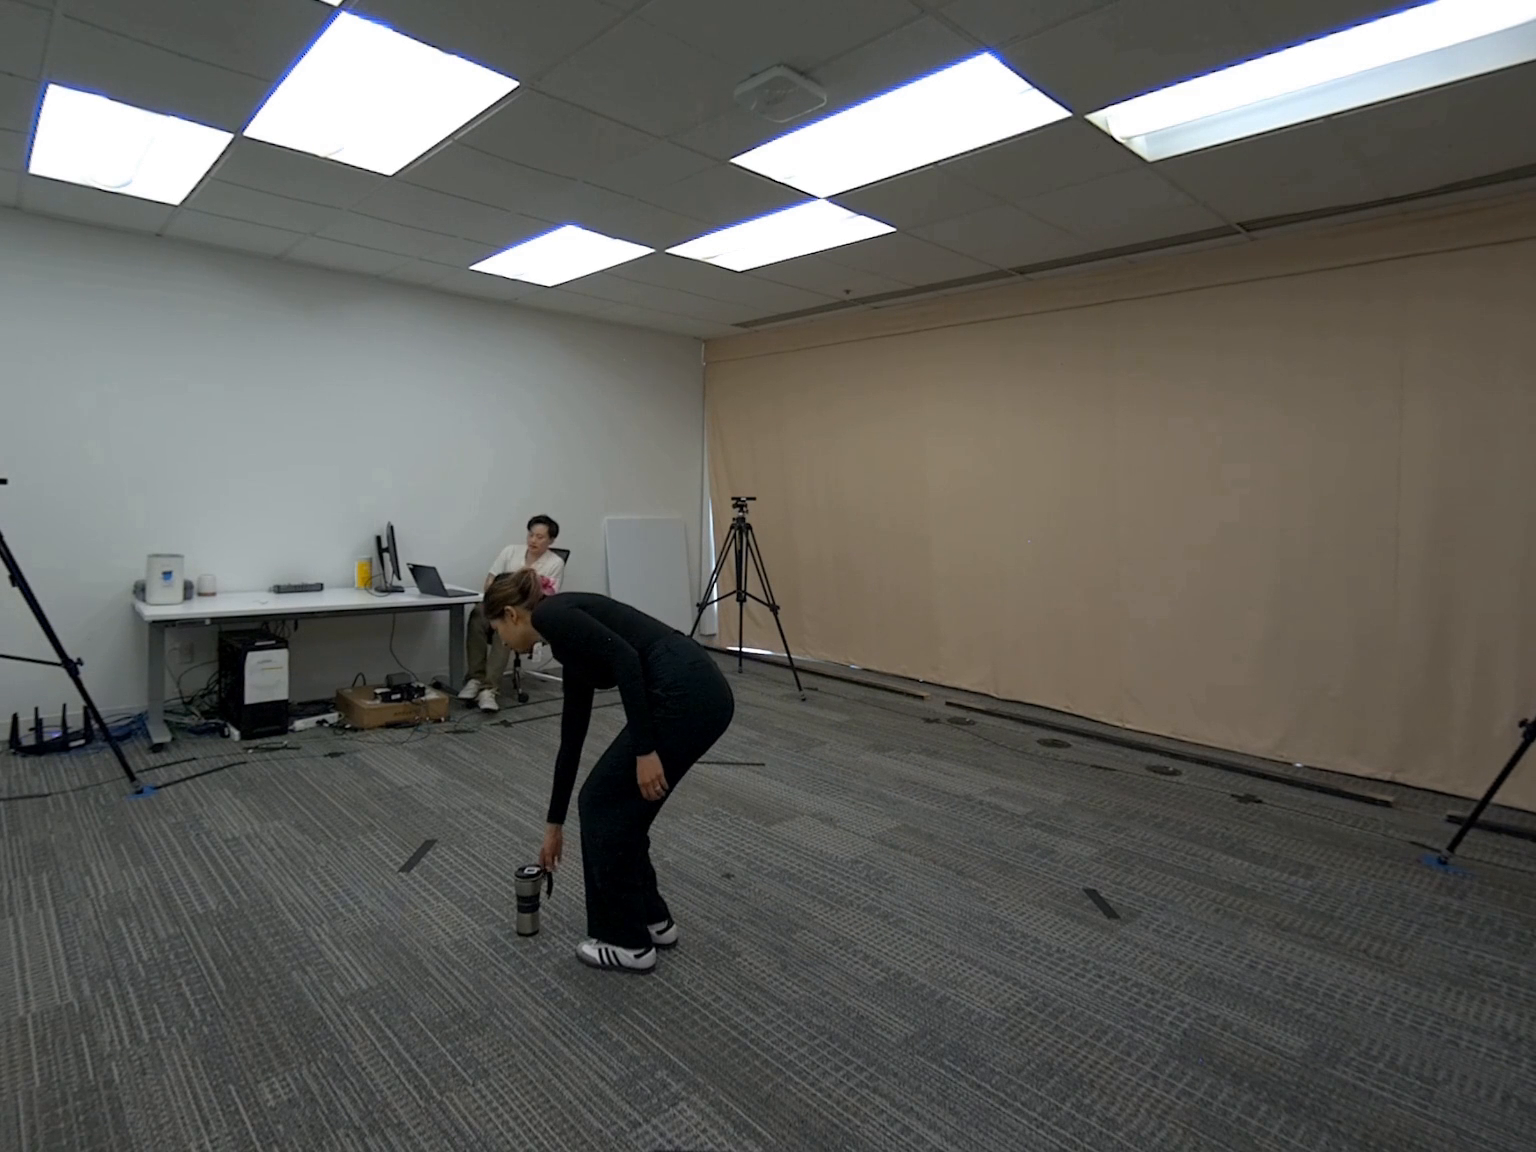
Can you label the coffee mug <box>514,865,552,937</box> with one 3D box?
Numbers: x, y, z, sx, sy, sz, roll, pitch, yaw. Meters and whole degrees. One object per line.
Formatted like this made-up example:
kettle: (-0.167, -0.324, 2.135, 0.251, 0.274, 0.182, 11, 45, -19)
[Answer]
coffee mug: (-0.743, 1.034, 2.676, 0.120, 0.203, 0.089, -6, 1, -19)
